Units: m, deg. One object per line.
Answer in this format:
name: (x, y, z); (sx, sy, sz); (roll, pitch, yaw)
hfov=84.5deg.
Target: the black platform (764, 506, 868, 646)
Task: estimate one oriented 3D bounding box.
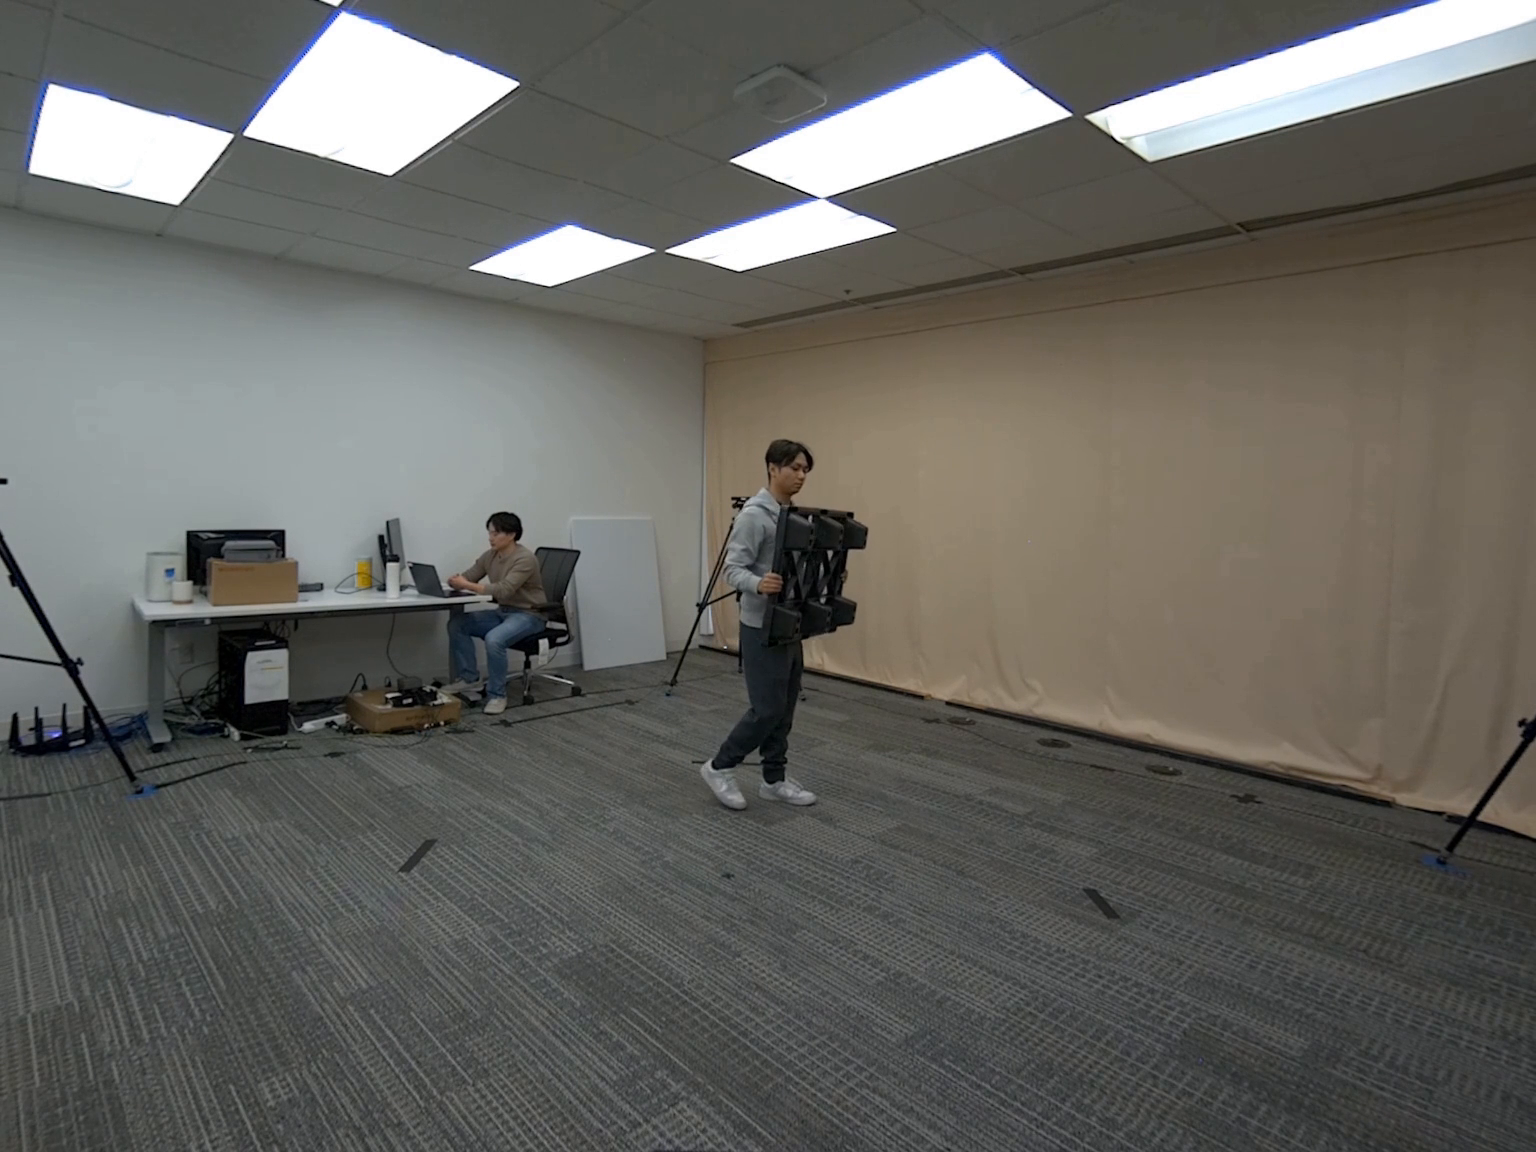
black platform: (0.218, 0.000, 3.787); (0.146, 0.603, 0.791); (9, 5, 25)
